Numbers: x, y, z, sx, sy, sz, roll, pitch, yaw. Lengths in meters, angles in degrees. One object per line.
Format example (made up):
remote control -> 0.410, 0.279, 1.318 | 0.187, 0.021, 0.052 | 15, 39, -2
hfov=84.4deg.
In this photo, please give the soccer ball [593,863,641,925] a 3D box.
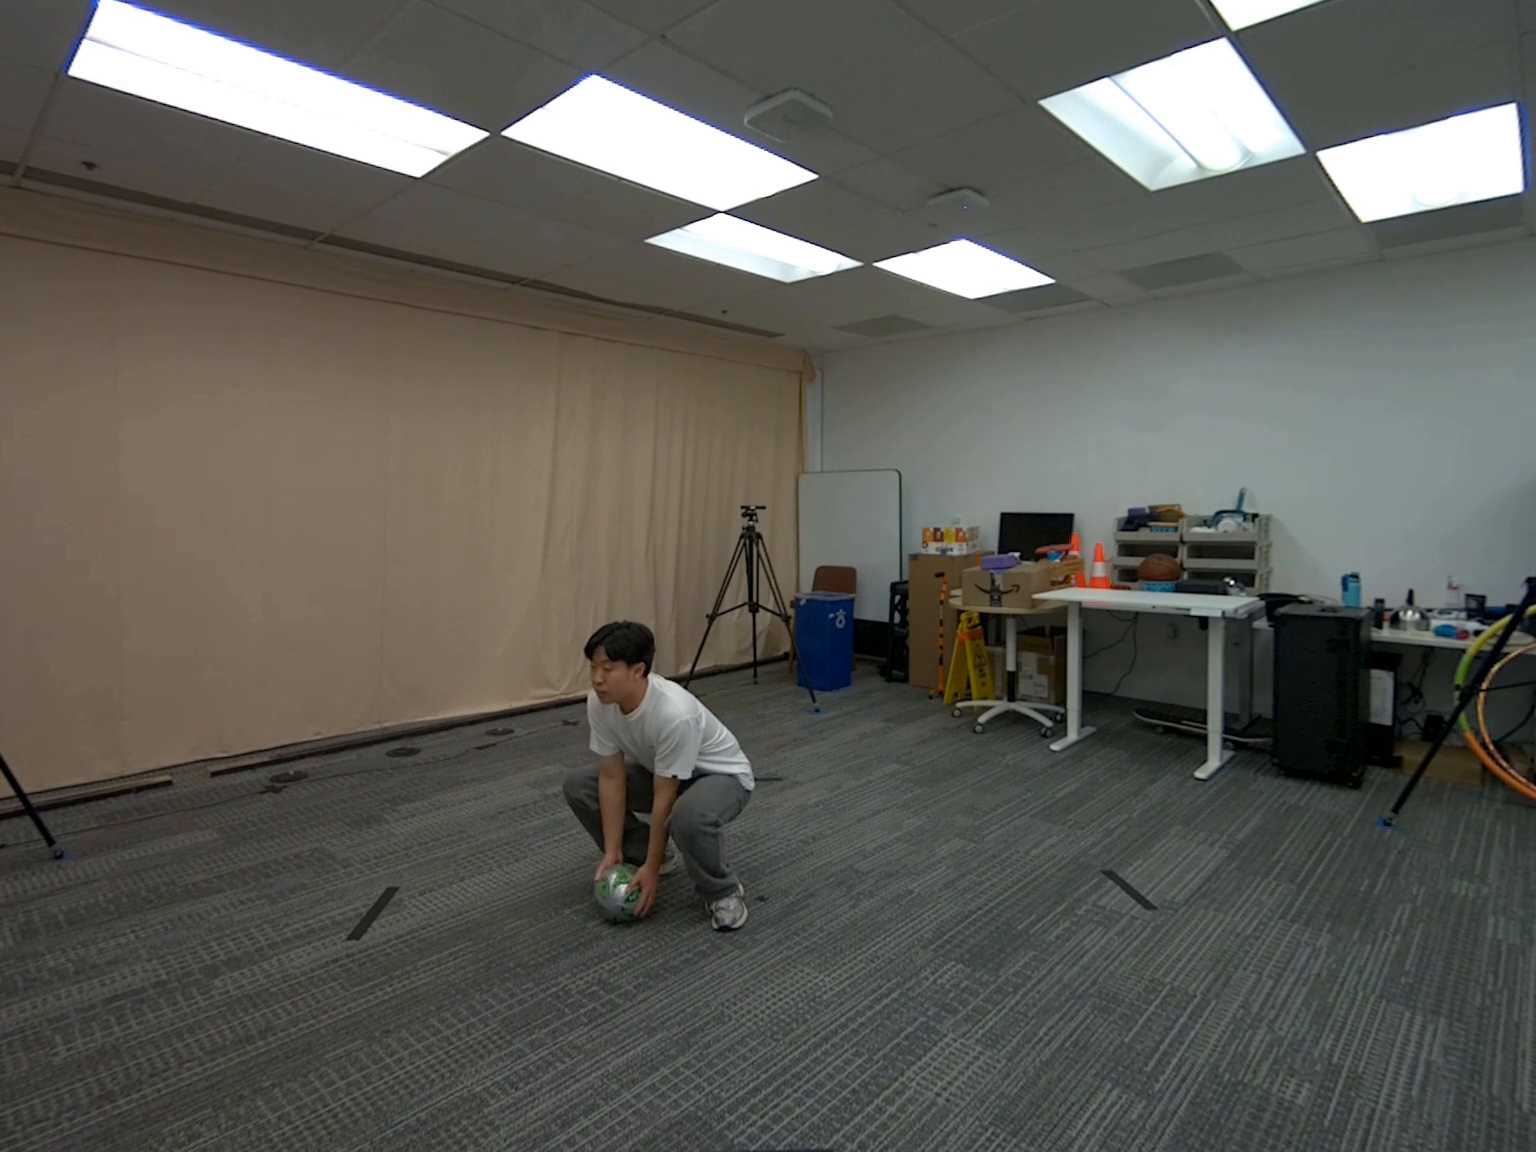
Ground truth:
soccer ball -> -0.489, 1.059, 2.841 | 0.187, 0.187, 0.188 | 0, 4, -2
